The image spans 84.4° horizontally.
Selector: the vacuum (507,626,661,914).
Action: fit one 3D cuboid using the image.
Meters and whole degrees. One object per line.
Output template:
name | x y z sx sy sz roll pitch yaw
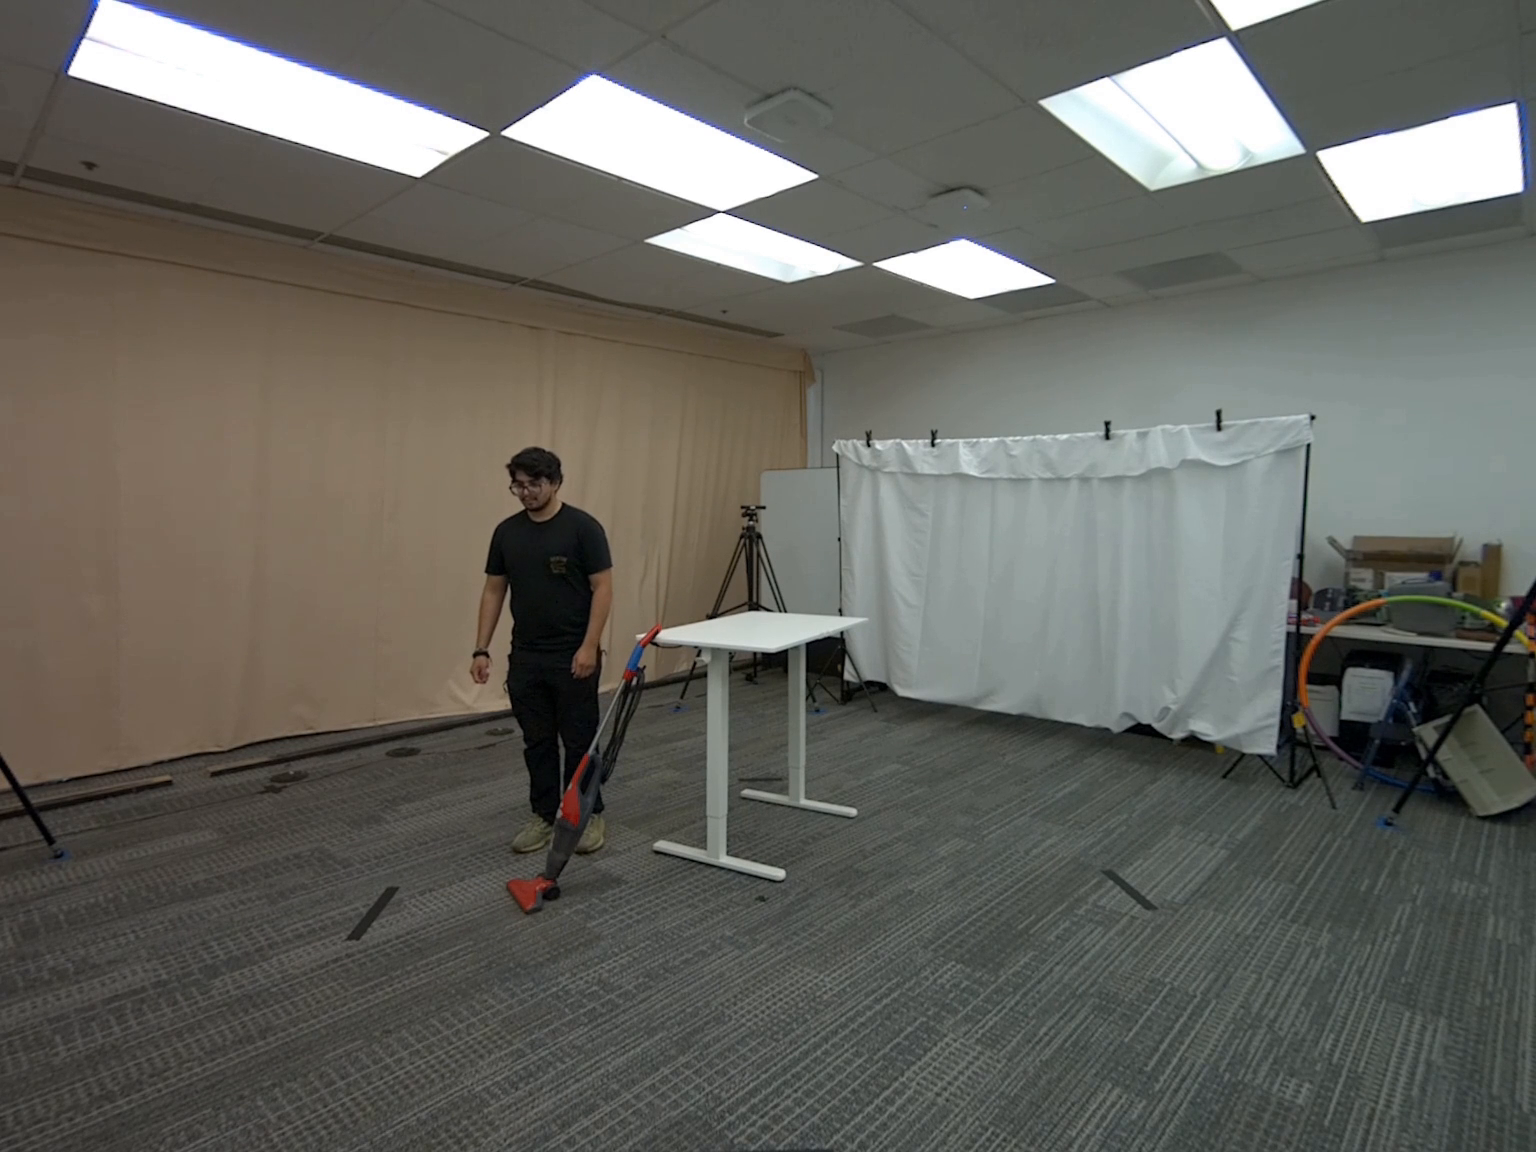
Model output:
vacuum | -0.619 0.665 3.124 0.261 1.051 0.139 10 -18 48
